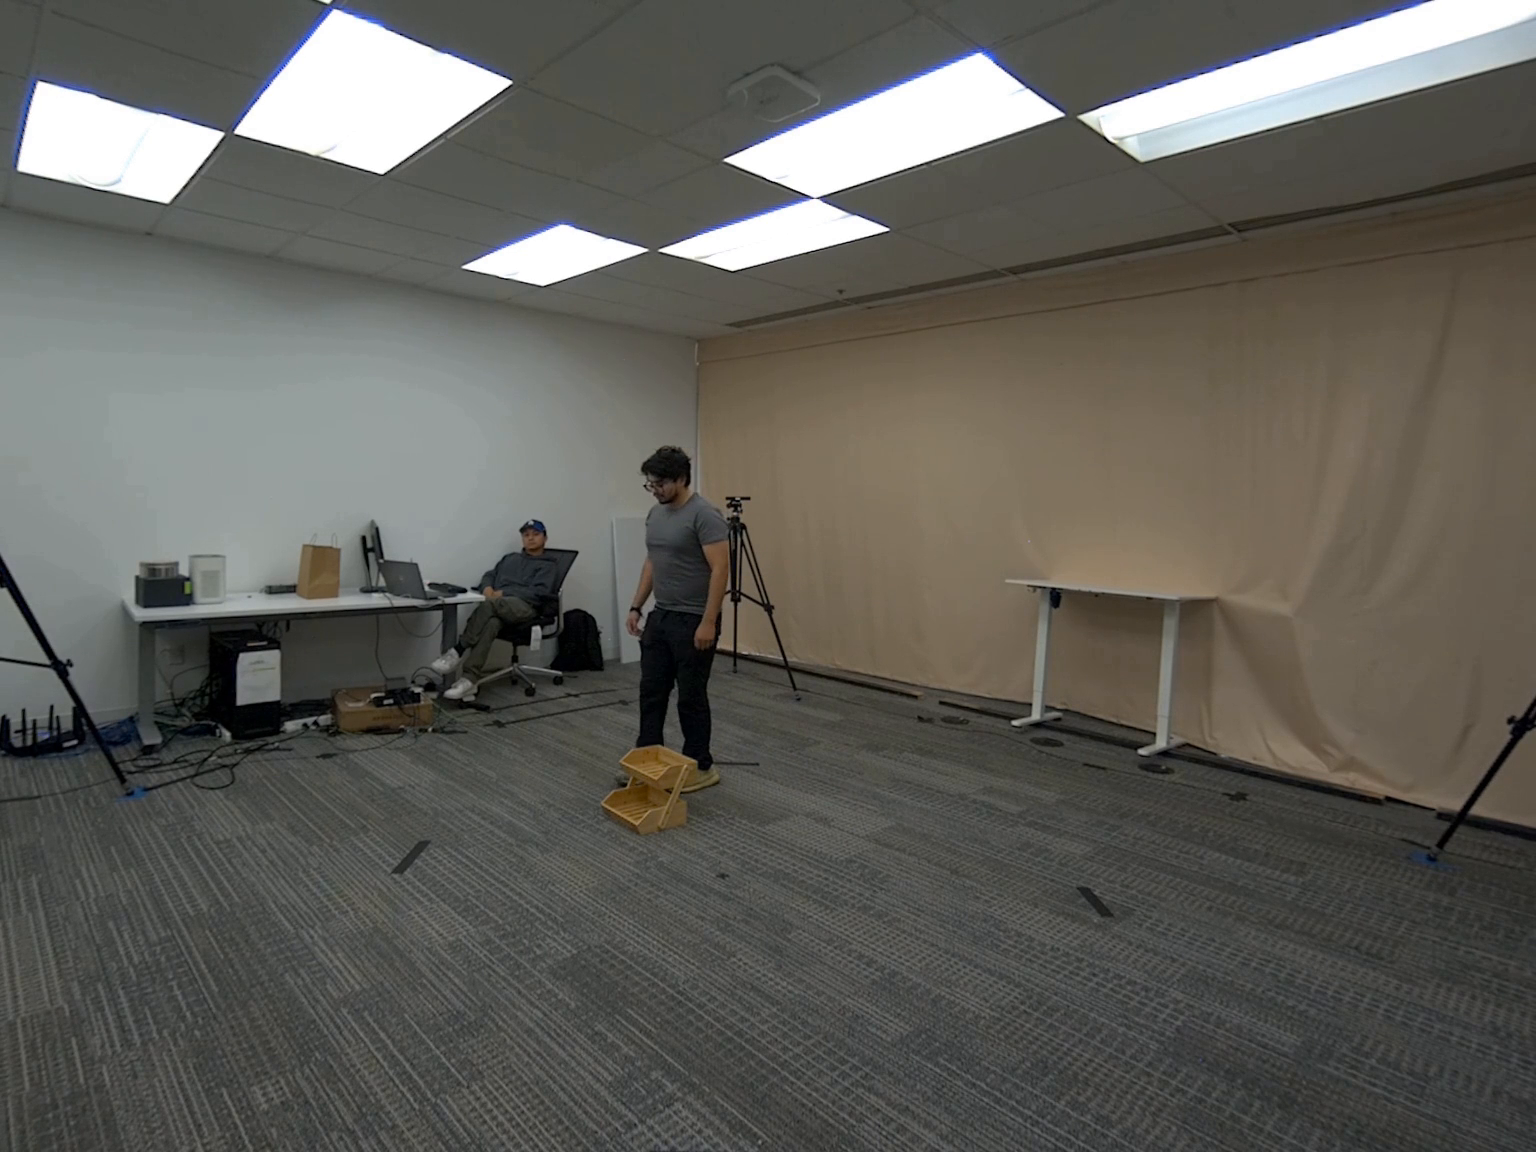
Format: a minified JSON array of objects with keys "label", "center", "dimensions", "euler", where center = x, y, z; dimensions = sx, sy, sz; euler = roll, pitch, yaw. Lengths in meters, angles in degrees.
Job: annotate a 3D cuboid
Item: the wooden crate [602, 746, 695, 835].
[{"label":"wooden crate","center":[-0.535,0.921,3.656],"dimensions":[0.295,0.273,0.333],"euler":[-1,5,-40]}]
